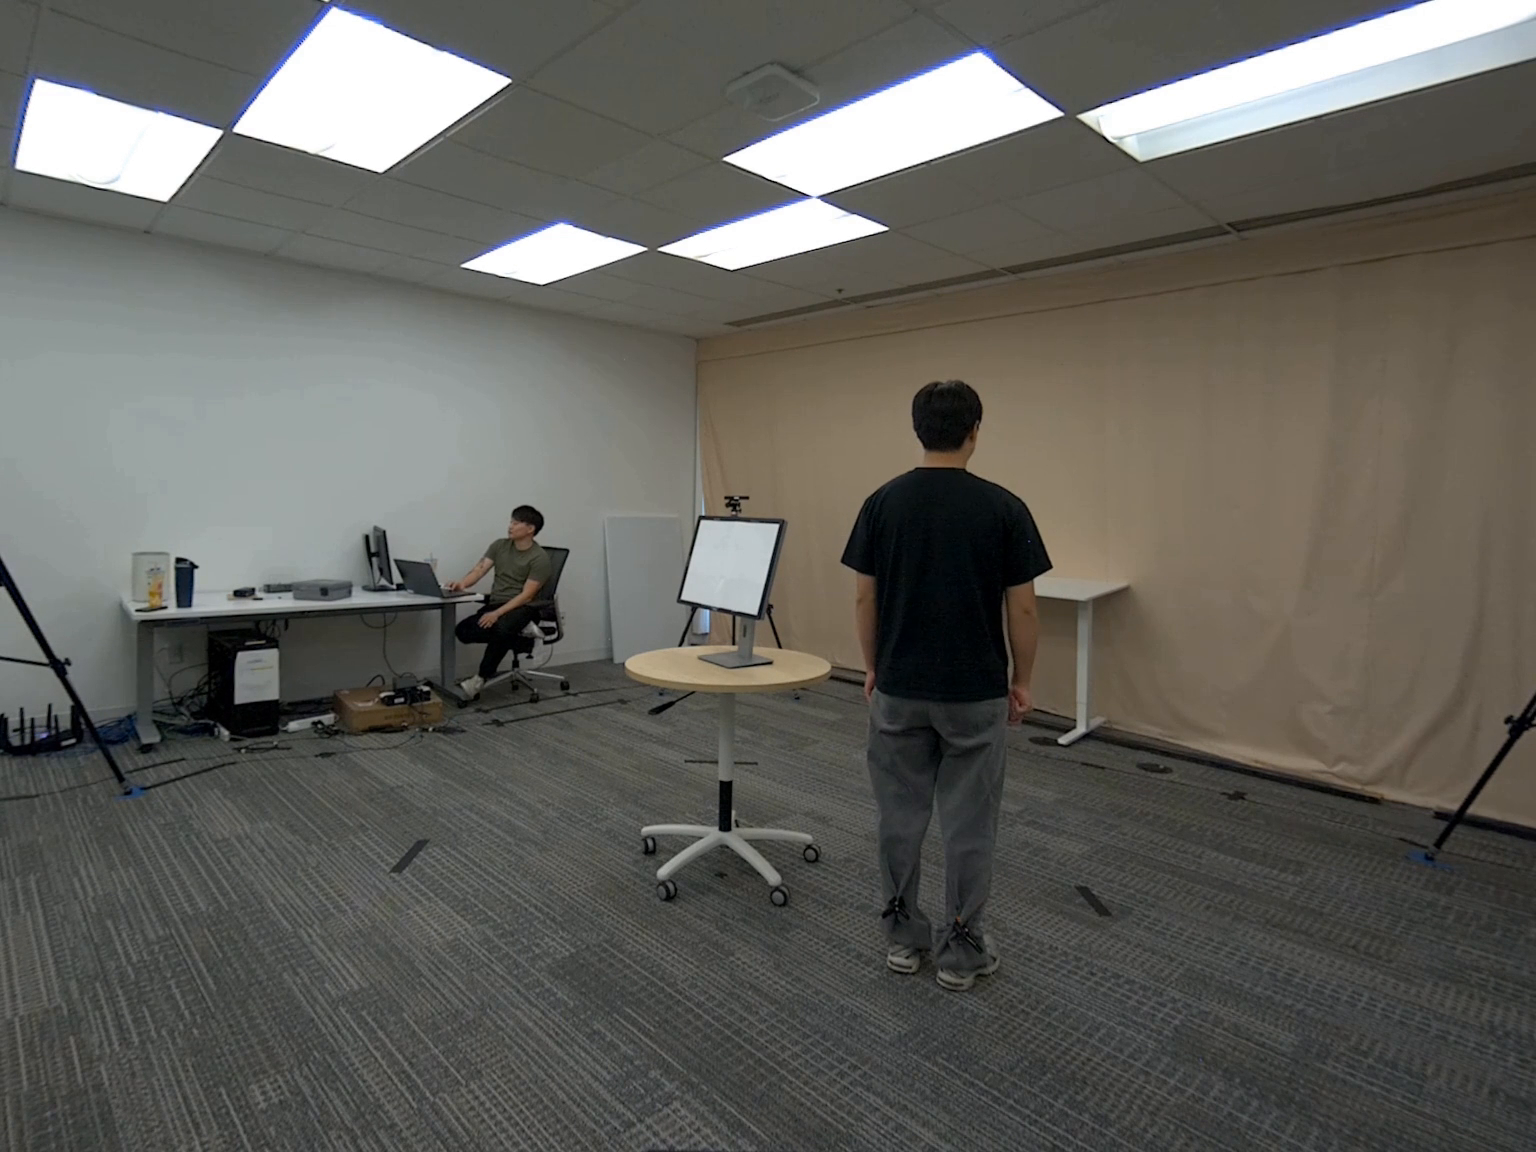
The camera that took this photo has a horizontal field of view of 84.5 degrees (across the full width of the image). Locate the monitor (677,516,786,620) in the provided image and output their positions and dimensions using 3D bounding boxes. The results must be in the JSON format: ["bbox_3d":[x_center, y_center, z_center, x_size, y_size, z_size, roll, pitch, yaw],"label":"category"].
[{"bbox_3d":[-0.130,0.061,3.166,0.217,0.564,0.575,-2,4,-33],"label":"monitor"}]
